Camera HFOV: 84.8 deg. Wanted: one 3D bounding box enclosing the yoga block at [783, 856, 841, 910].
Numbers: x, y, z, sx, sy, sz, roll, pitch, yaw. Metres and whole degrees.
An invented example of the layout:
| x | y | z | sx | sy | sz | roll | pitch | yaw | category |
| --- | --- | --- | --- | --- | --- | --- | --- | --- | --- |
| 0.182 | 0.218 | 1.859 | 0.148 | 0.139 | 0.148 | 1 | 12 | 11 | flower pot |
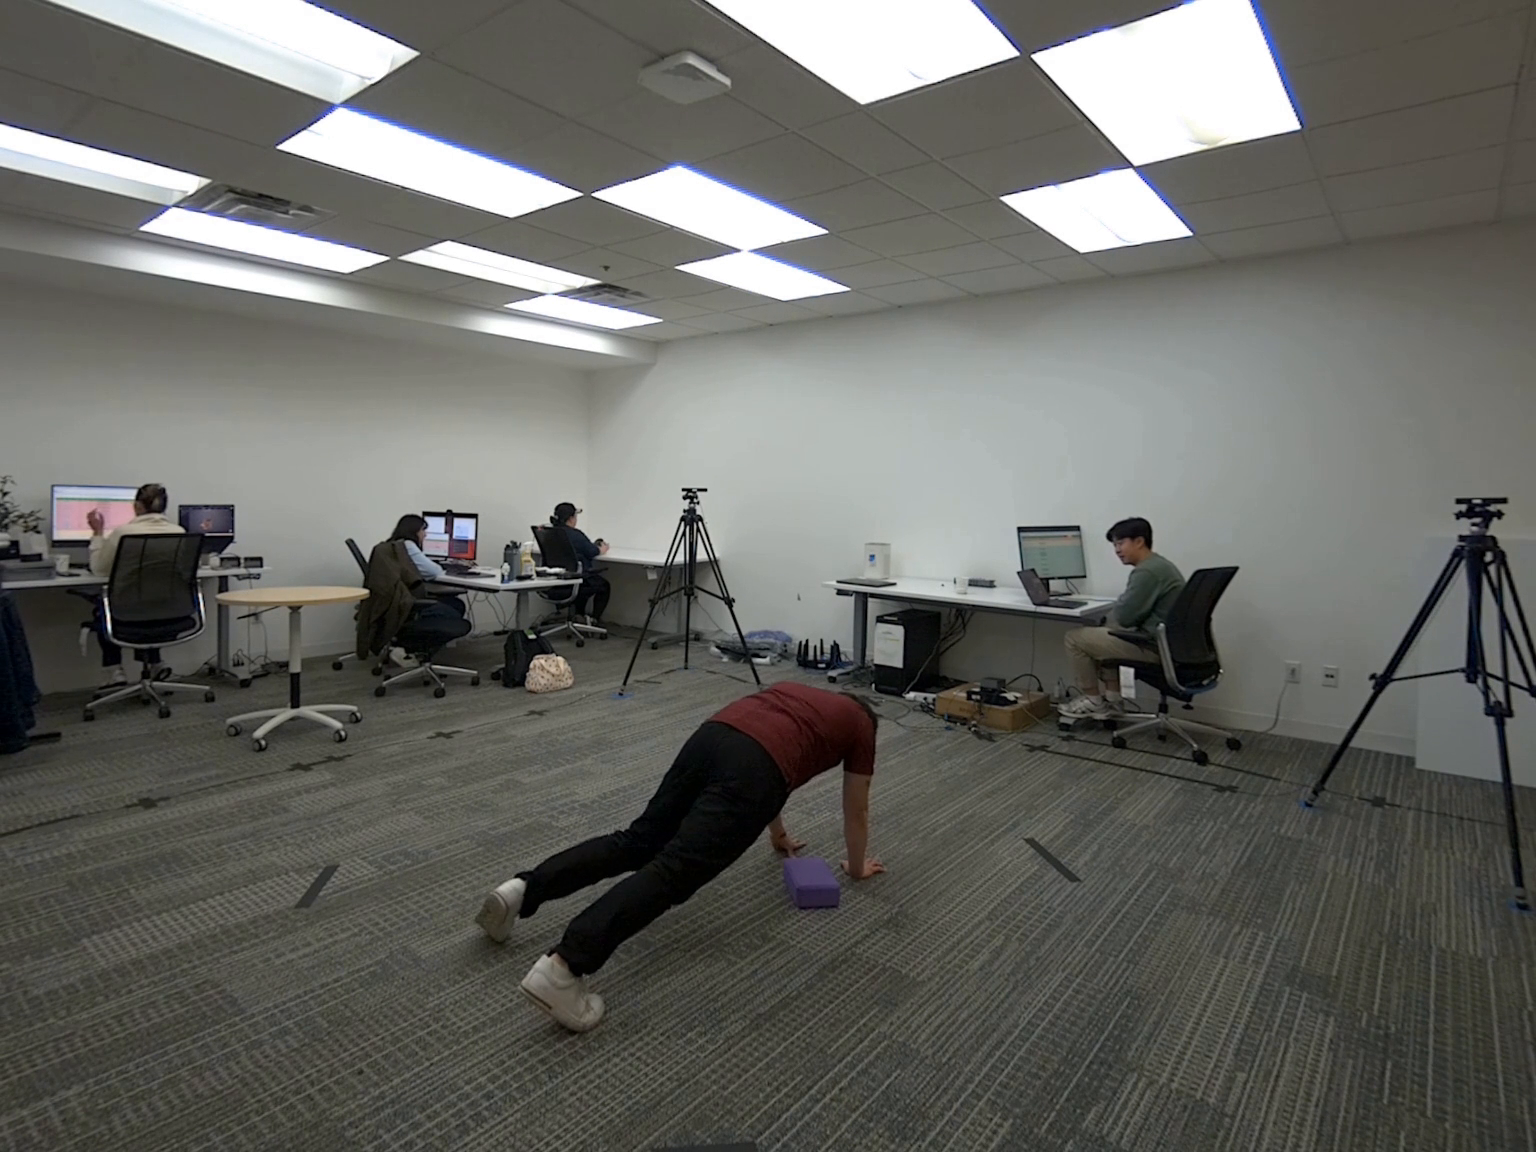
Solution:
| x | y | z | sx | sy | sz | roll | pitch | yaw | category |
| --- | --- | --- | --- | --- | --- | --- | --- | --- | --- |
| 0.145 | 1.056 | 2.938 | 0.147 | 0.076 | 0.232 | 0 | 6 | -10 | yoga block |
